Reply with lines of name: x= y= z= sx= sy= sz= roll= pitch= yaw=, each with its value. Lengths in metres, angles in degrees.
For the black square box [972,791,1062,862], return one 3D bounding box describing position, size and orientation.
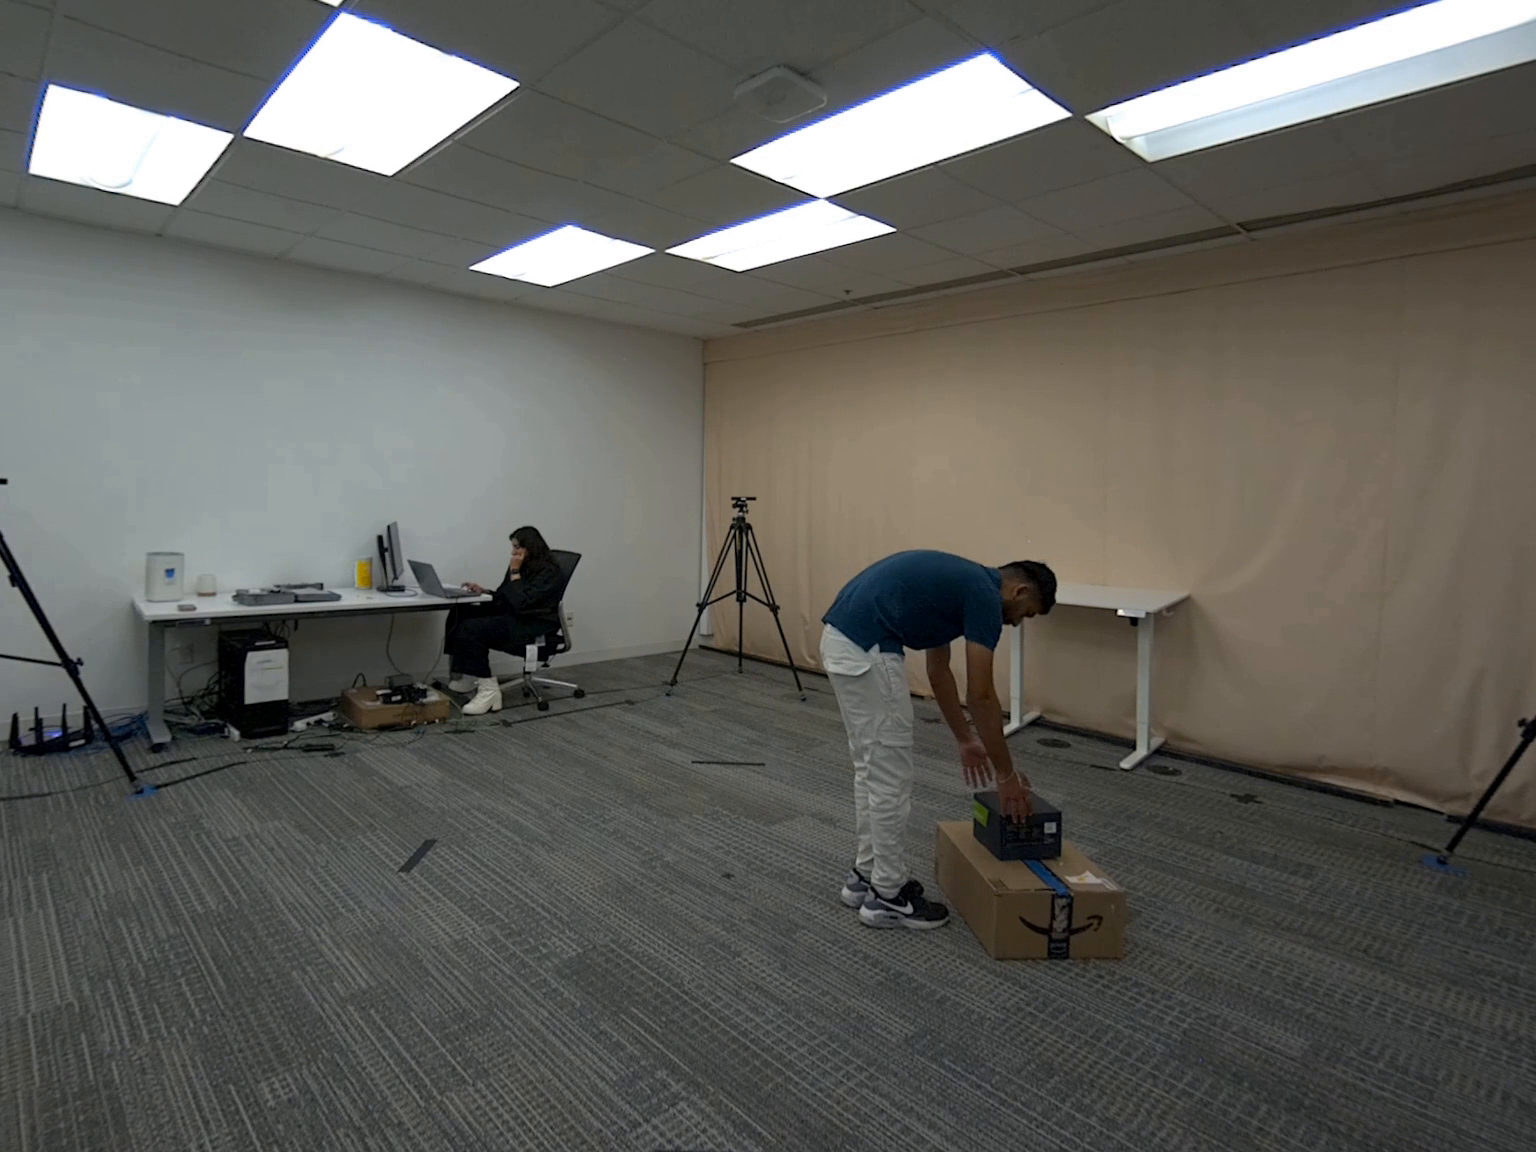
black square box: x=0.845 y=0.849 z=2.902 sx=0.215 sy=0.155 sz=0.230 roll=-1 pitch=4 yaw=-9
